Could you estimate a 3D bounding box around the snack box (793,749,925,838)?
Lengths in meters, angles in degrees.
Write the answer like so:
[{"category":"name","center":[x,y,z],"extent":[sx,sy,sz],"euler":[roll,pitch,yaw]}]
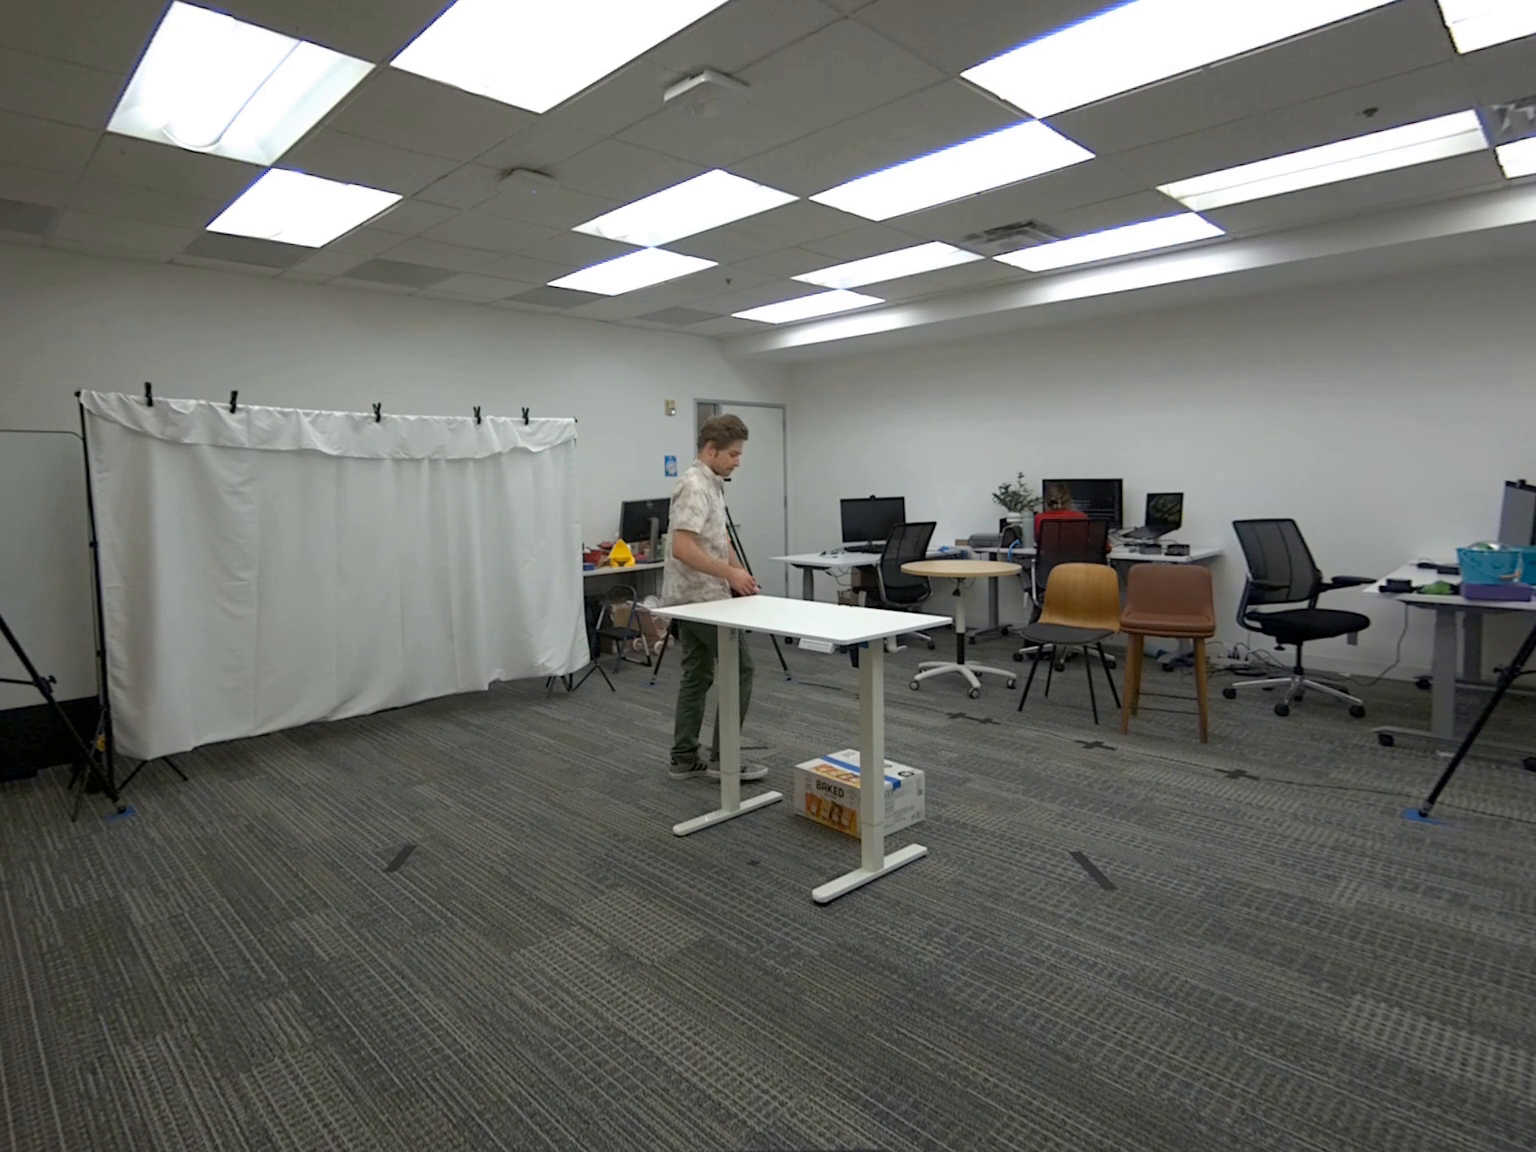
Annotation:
[{"category":"snack box","center":[0.375,0.890,3.499],"extent":[0.331,0.205,0.418],"euler":[-6,8,-41]}]
